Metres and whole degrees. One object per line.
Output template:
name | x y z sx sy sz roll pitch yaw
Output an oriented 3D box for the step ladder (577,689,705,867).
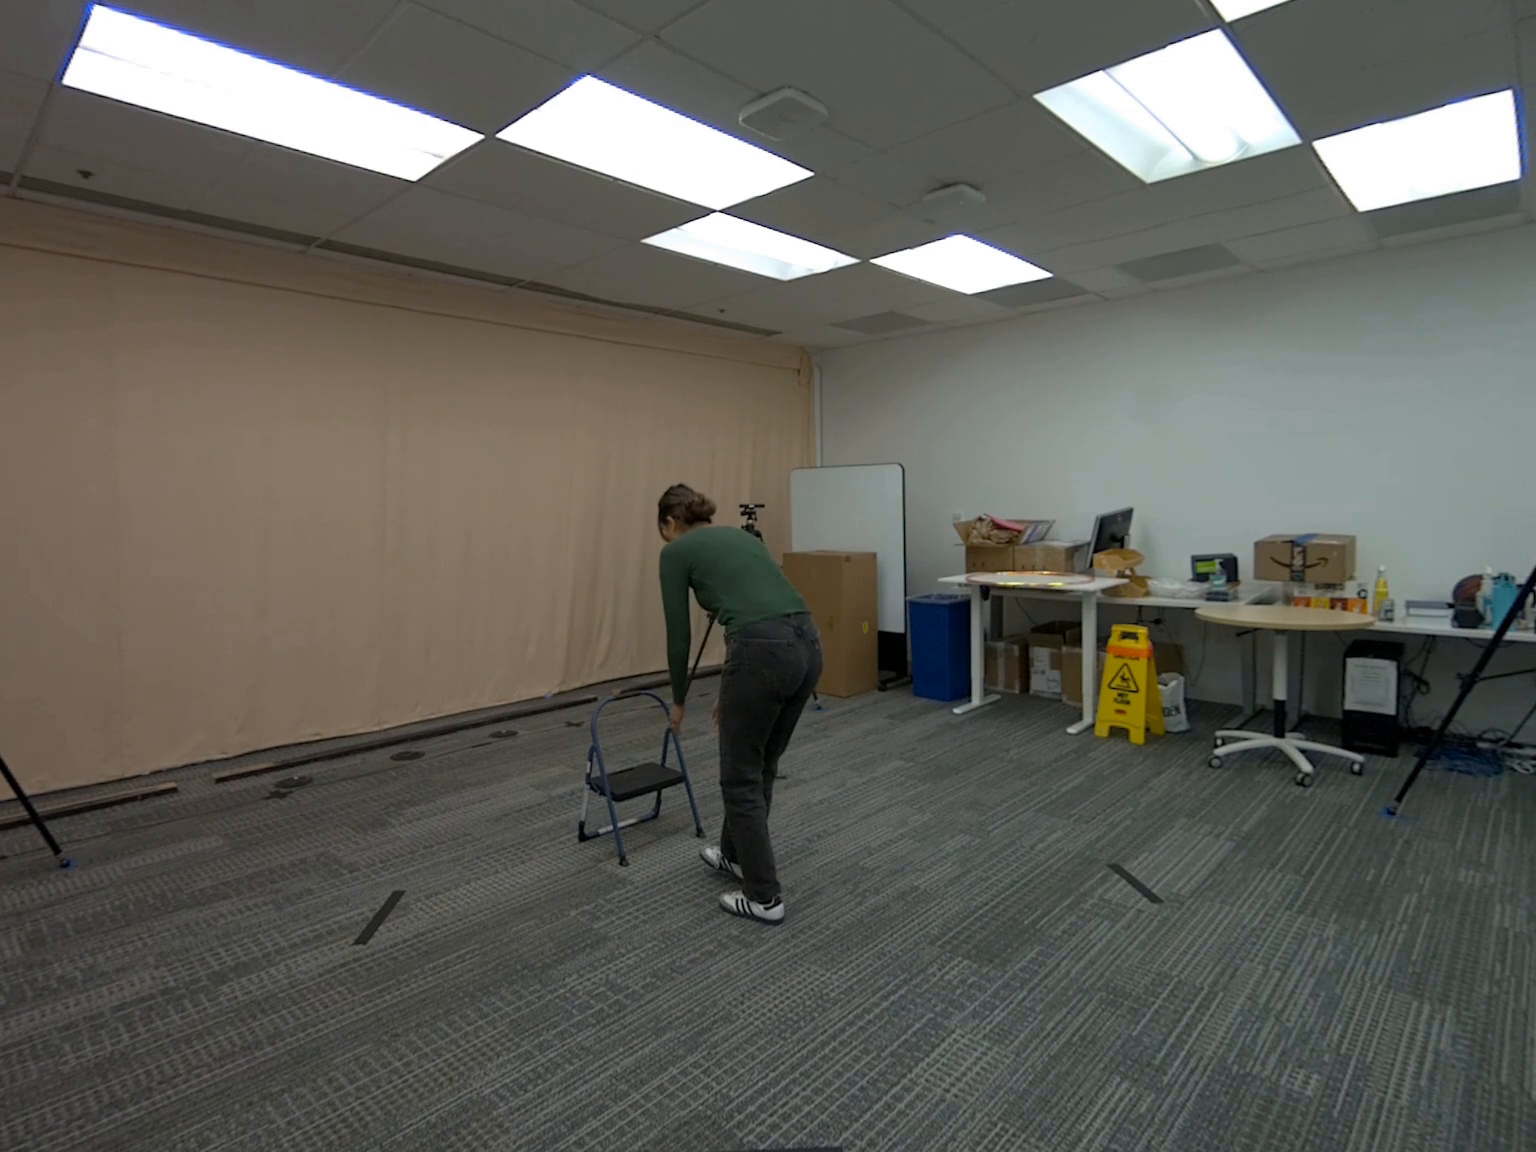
step ladder | -0.535 0.802 3.522 0.417 0.605 0.361 -4 4 -43
